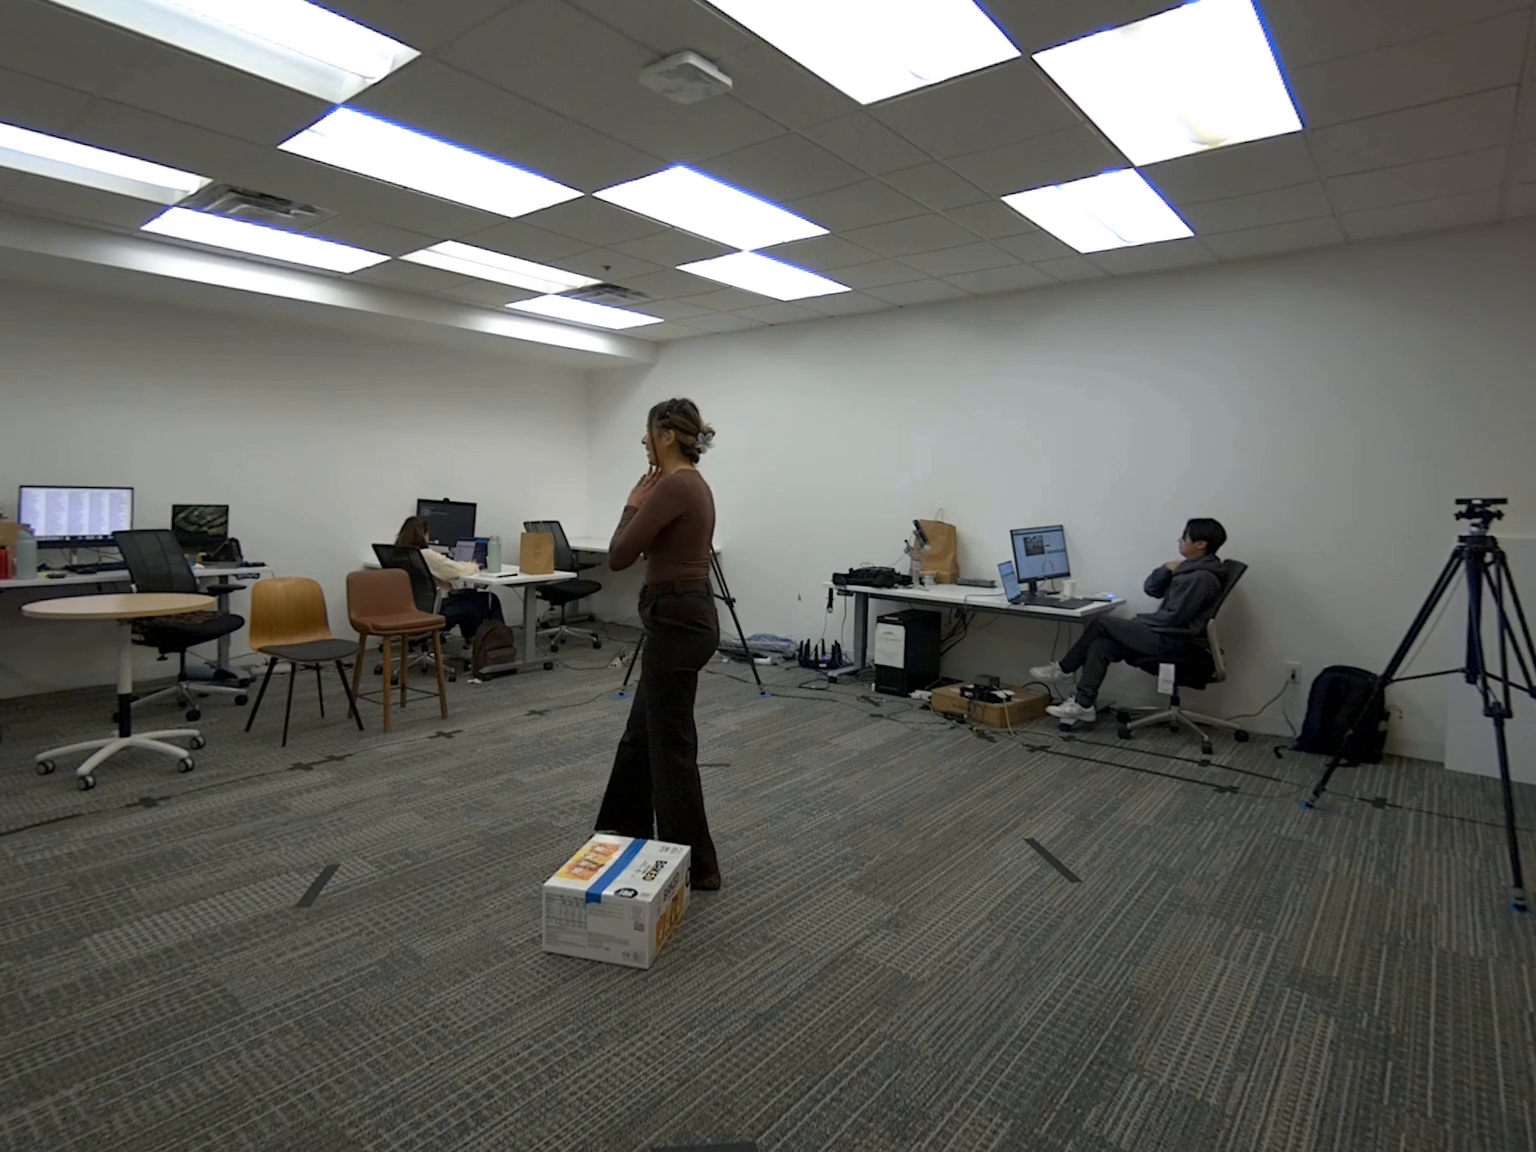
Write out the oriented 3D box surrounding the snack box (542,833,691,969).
[{"bbox_3d":[-0.474,1.004,2.673,0.346,0.205,0.400,2,5,14],"label":"snack box"}]
